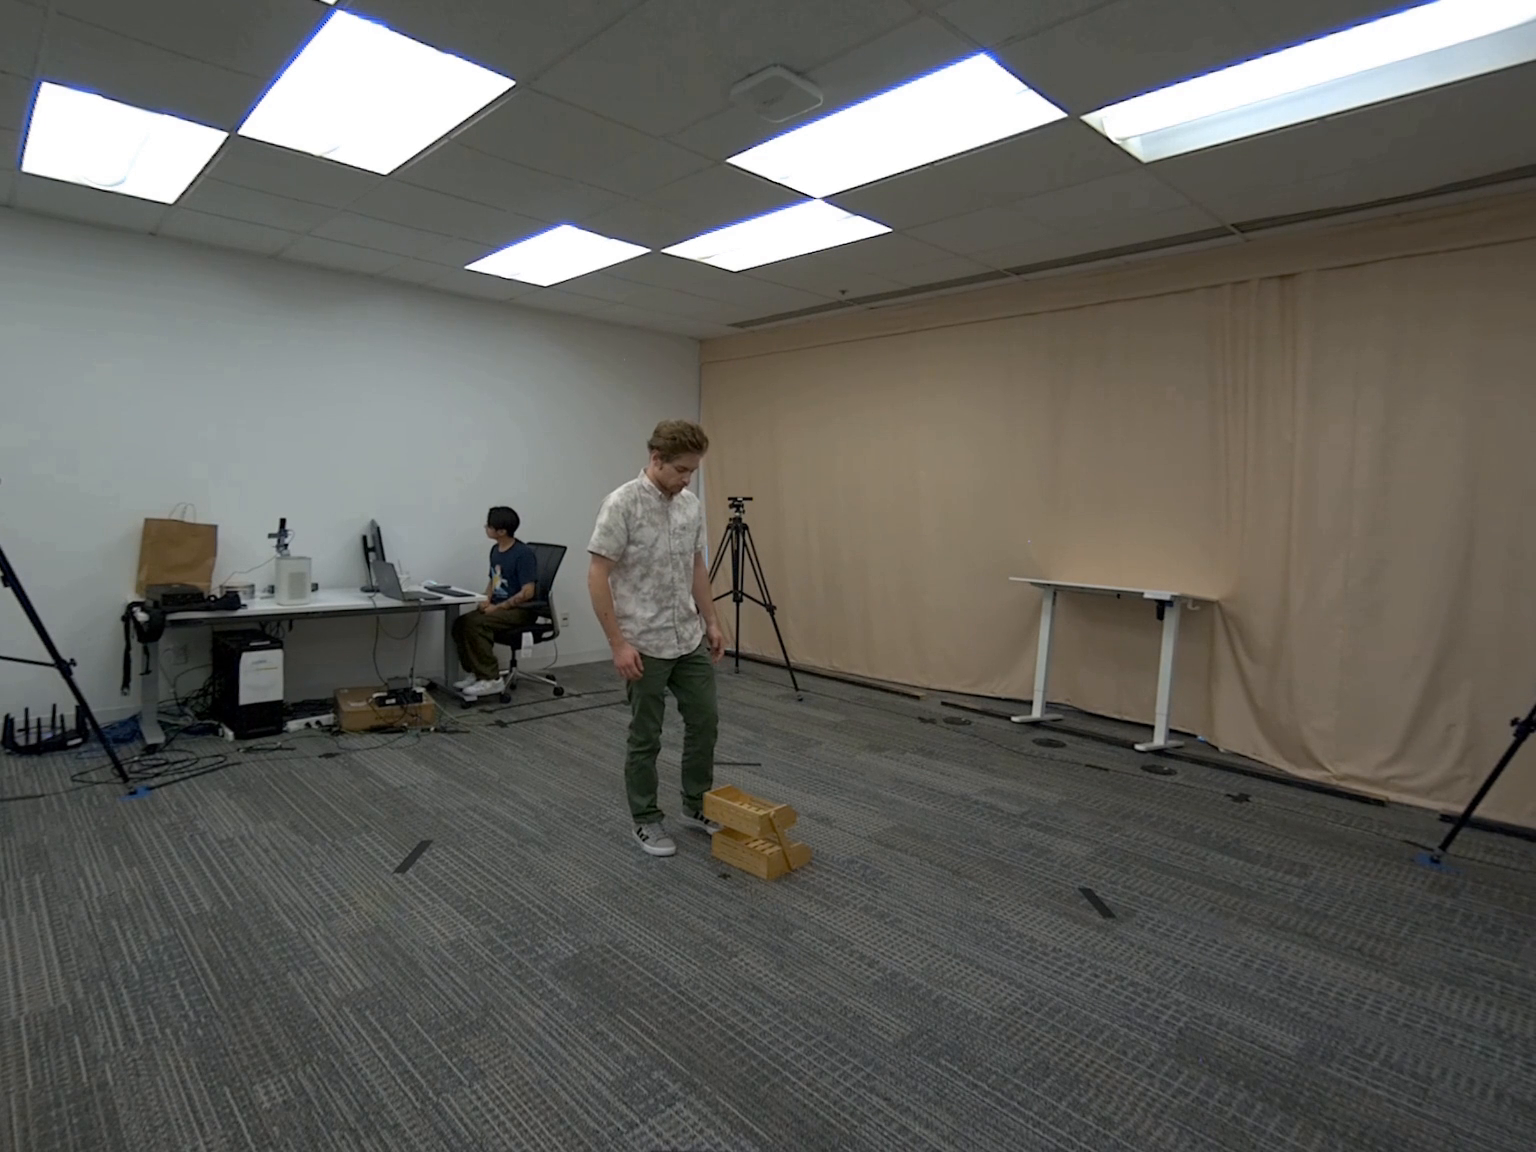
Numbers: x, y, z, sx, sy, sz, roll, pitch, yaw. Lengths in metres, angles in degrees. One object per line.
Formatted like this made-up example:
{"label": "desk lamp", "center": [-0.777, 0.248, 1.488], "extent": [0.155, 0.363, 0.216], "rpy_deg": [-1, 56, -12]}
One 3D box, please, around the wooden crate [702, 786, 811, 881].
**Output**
{"label": "wooden crate", "center": [-0.042, 0.963, 3.236], "extent": [0.333, 0.272, 0.295], "rpy_deg": [5, 7, 44]}
